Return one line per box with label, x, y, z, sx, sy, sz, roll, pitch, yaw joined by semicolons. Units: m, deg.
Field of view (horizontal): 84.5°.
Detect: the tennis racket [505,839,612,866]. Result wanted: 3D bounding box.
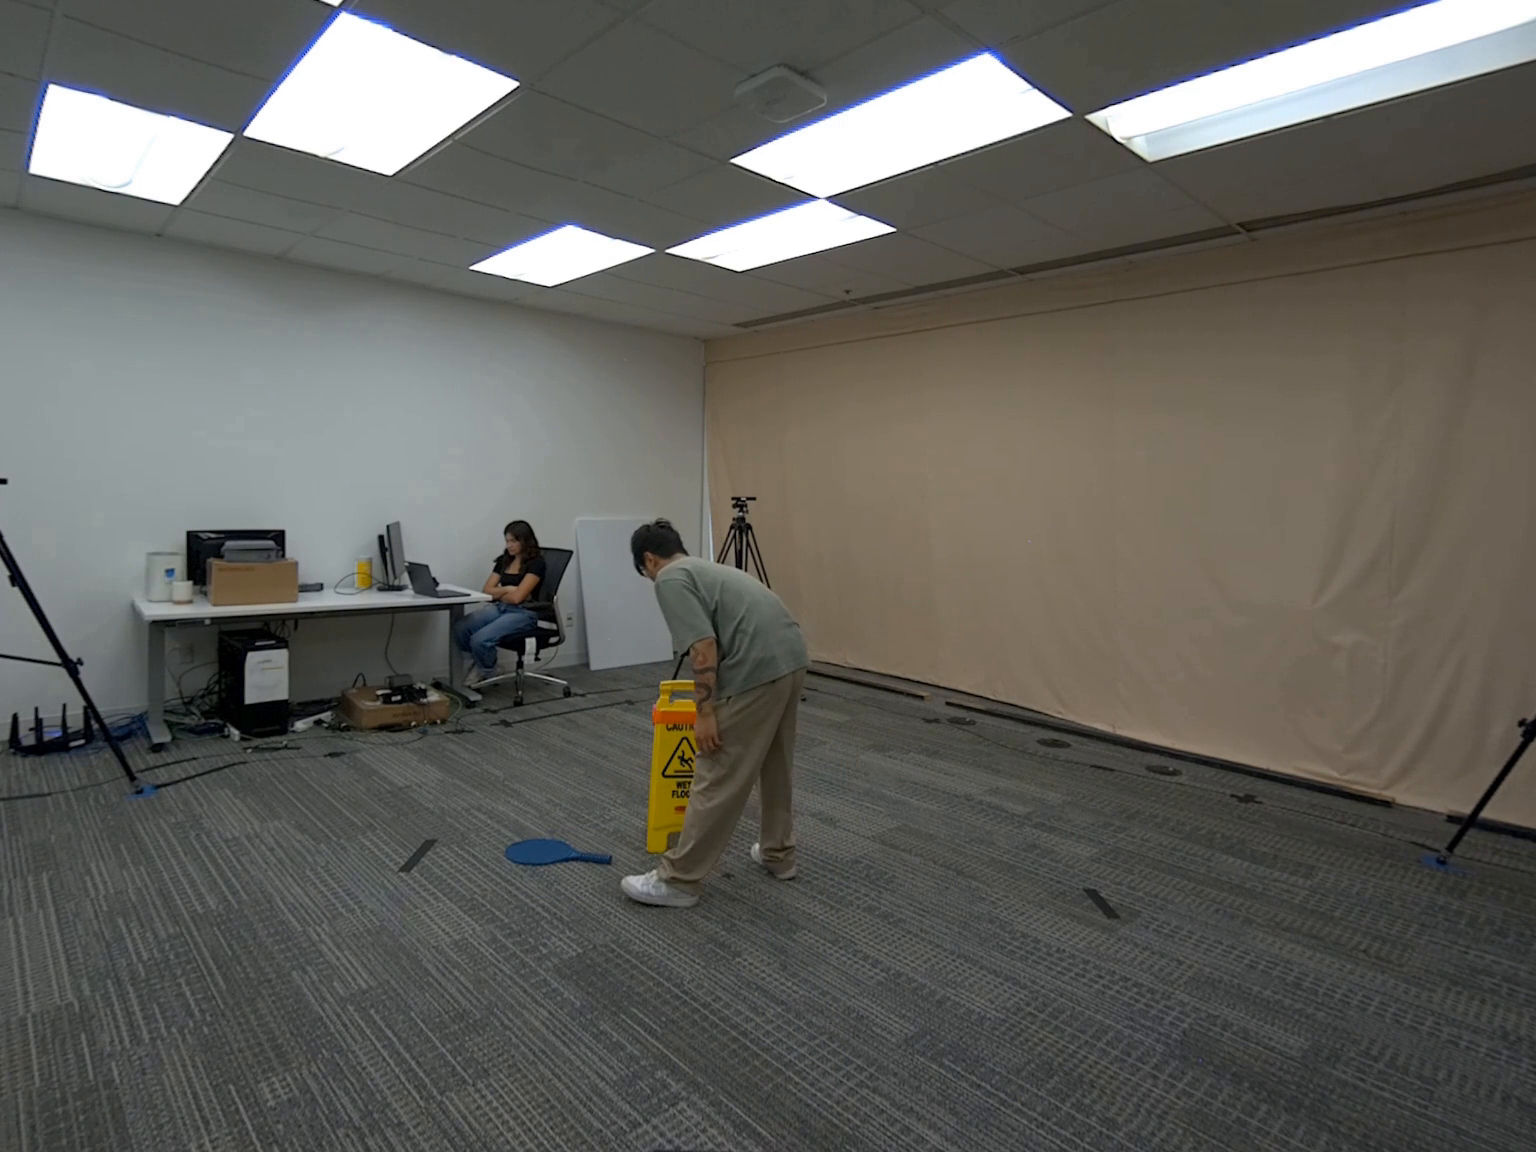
tennis racket;-0.809;1.062;3.237;0.438;0.031;0.212;1;6;16
